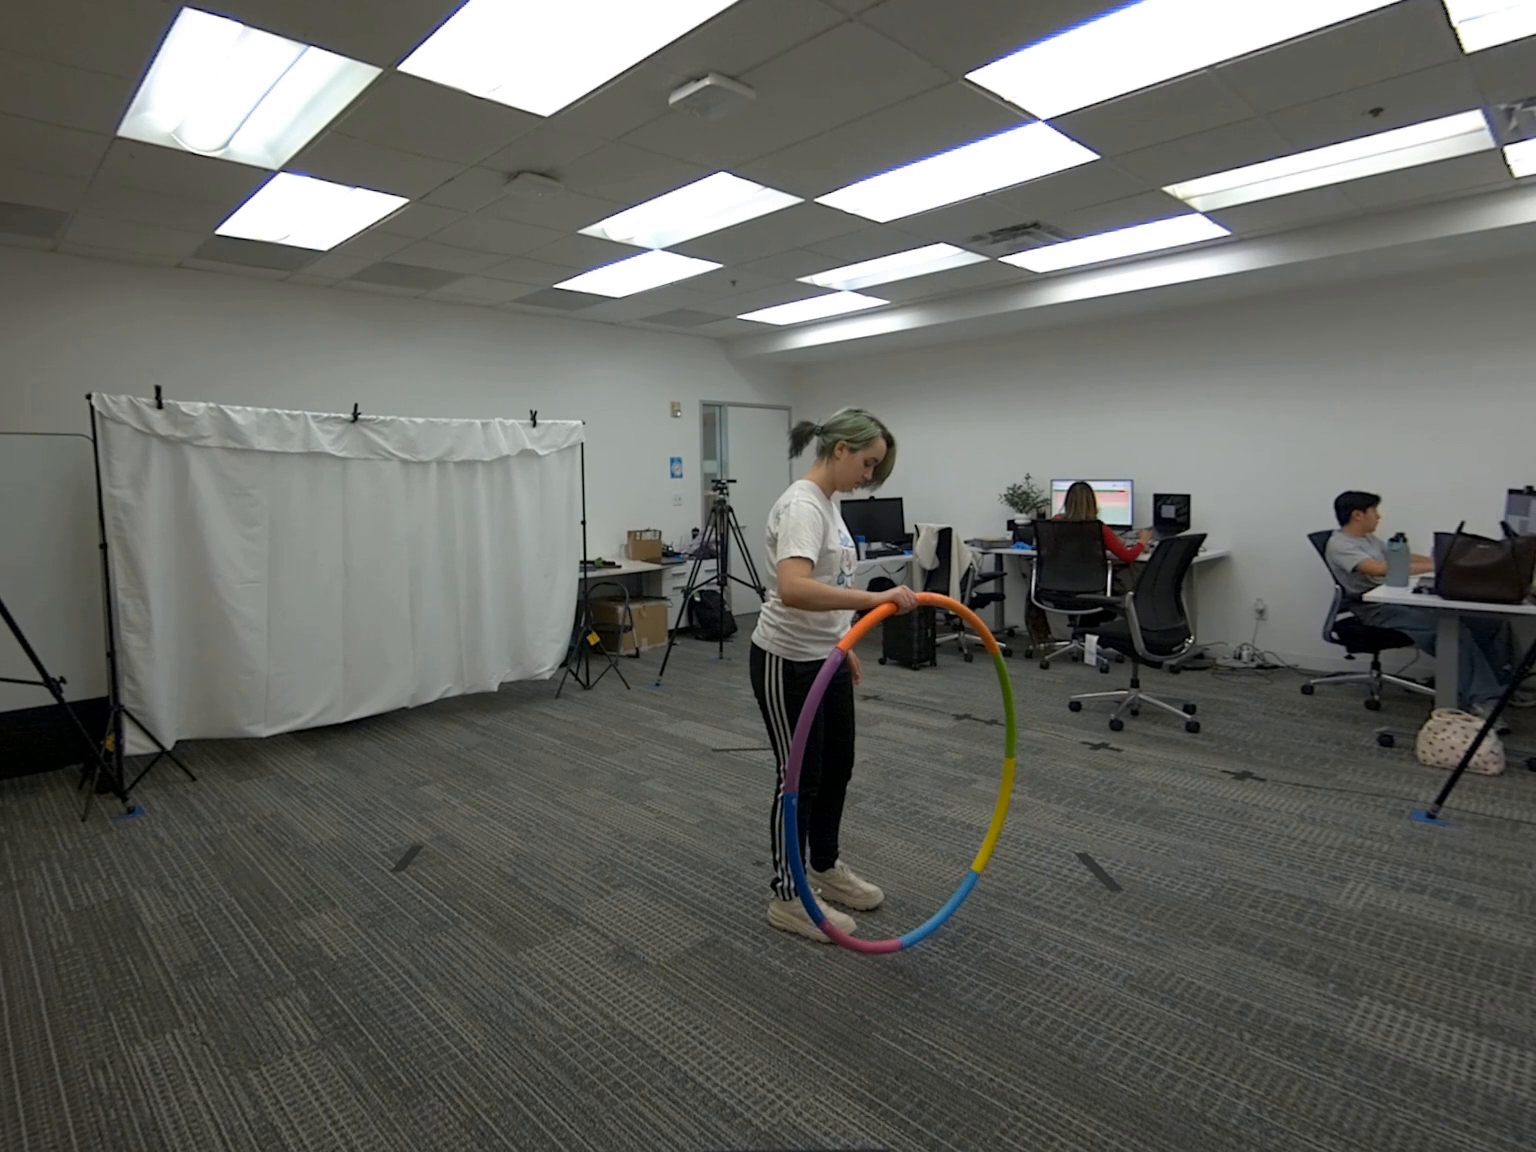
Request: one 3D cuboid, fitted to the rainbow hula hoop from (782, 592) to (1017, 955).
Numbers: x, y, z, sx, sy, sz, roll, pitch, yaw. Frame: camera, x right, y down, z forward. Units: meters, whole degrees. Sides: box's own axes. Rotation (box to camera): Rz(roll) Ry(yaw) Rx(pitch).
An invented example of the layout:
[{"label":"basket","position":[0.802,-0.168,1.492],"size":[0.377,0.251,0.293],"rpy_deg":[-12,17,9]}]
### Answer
[{"label":"rainbow hula hoop","position":[0.405,0.545,2.384],"size":[0.953,0.976,0.036],"rpy_deg":[-5,4,-38]}]
